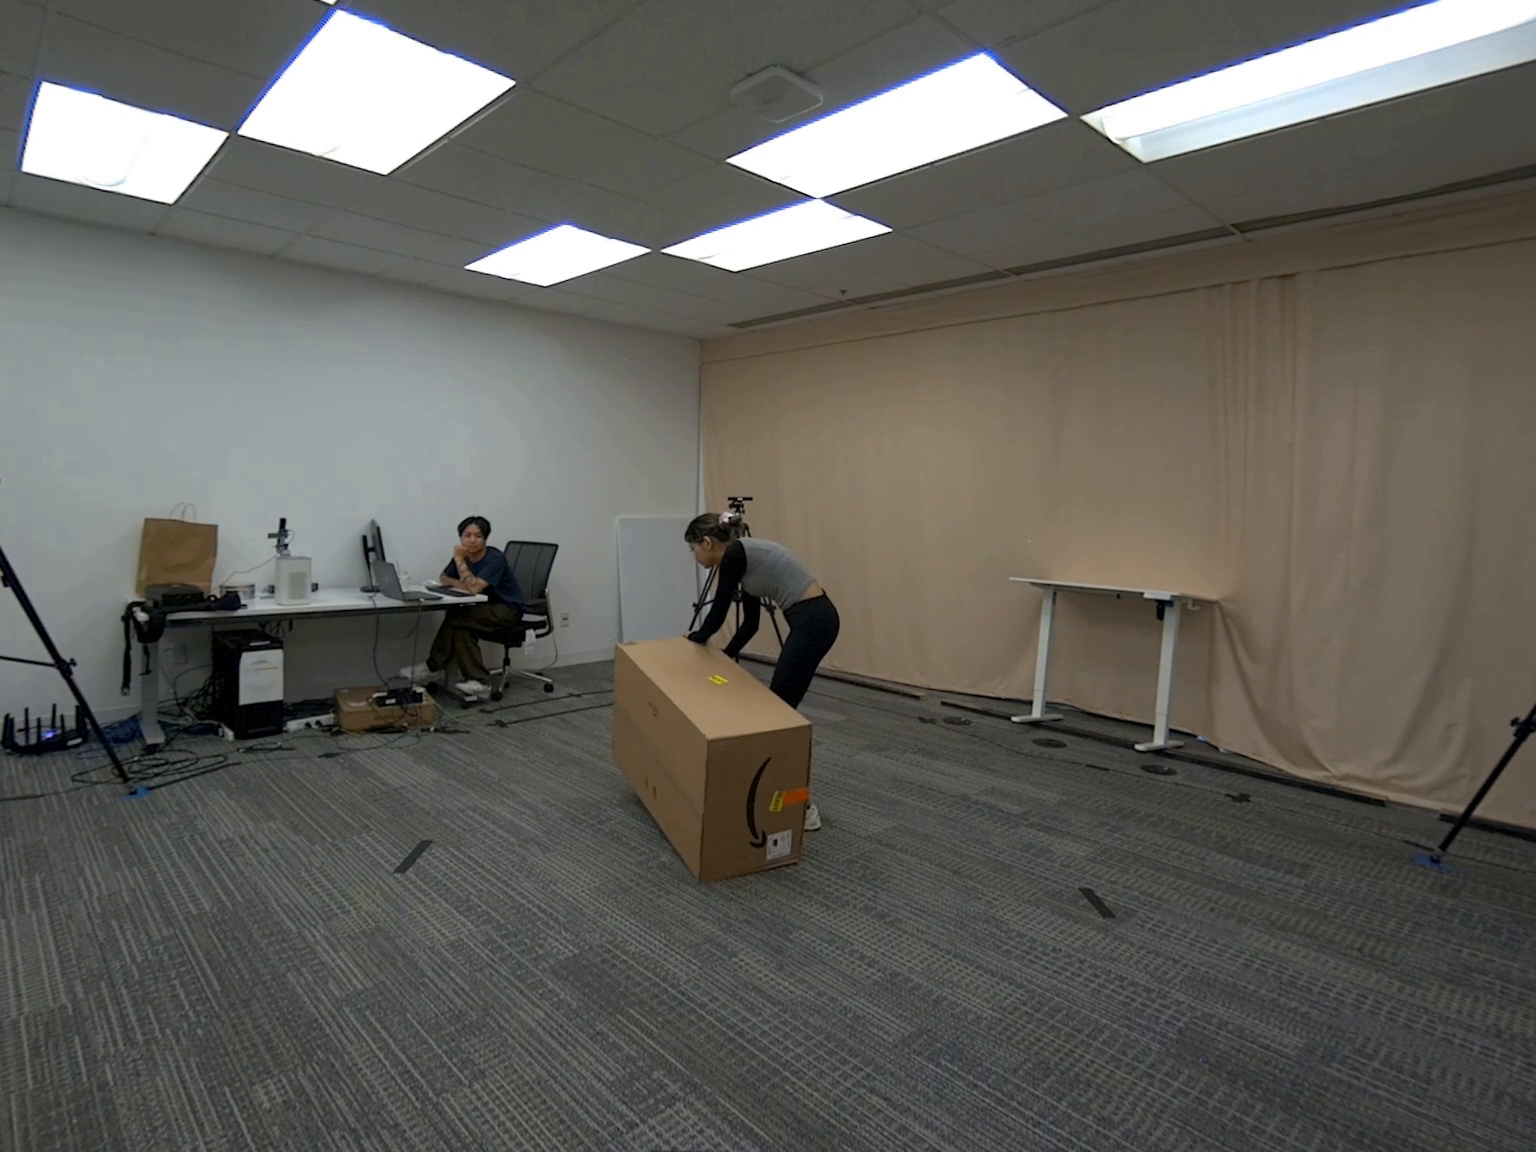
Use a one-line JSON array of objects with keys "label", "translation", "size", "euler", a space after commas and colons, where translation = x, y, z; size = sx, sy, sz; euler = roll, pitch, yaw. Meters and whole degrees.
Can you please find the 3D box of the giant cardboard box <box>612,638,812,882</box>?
[{"label": "giant cardboard box", "translation": [-0.290, 0.700, 3.494], "size": [0.438, 0.579, 1.055], "euler": [-2, 15, -28]}]
